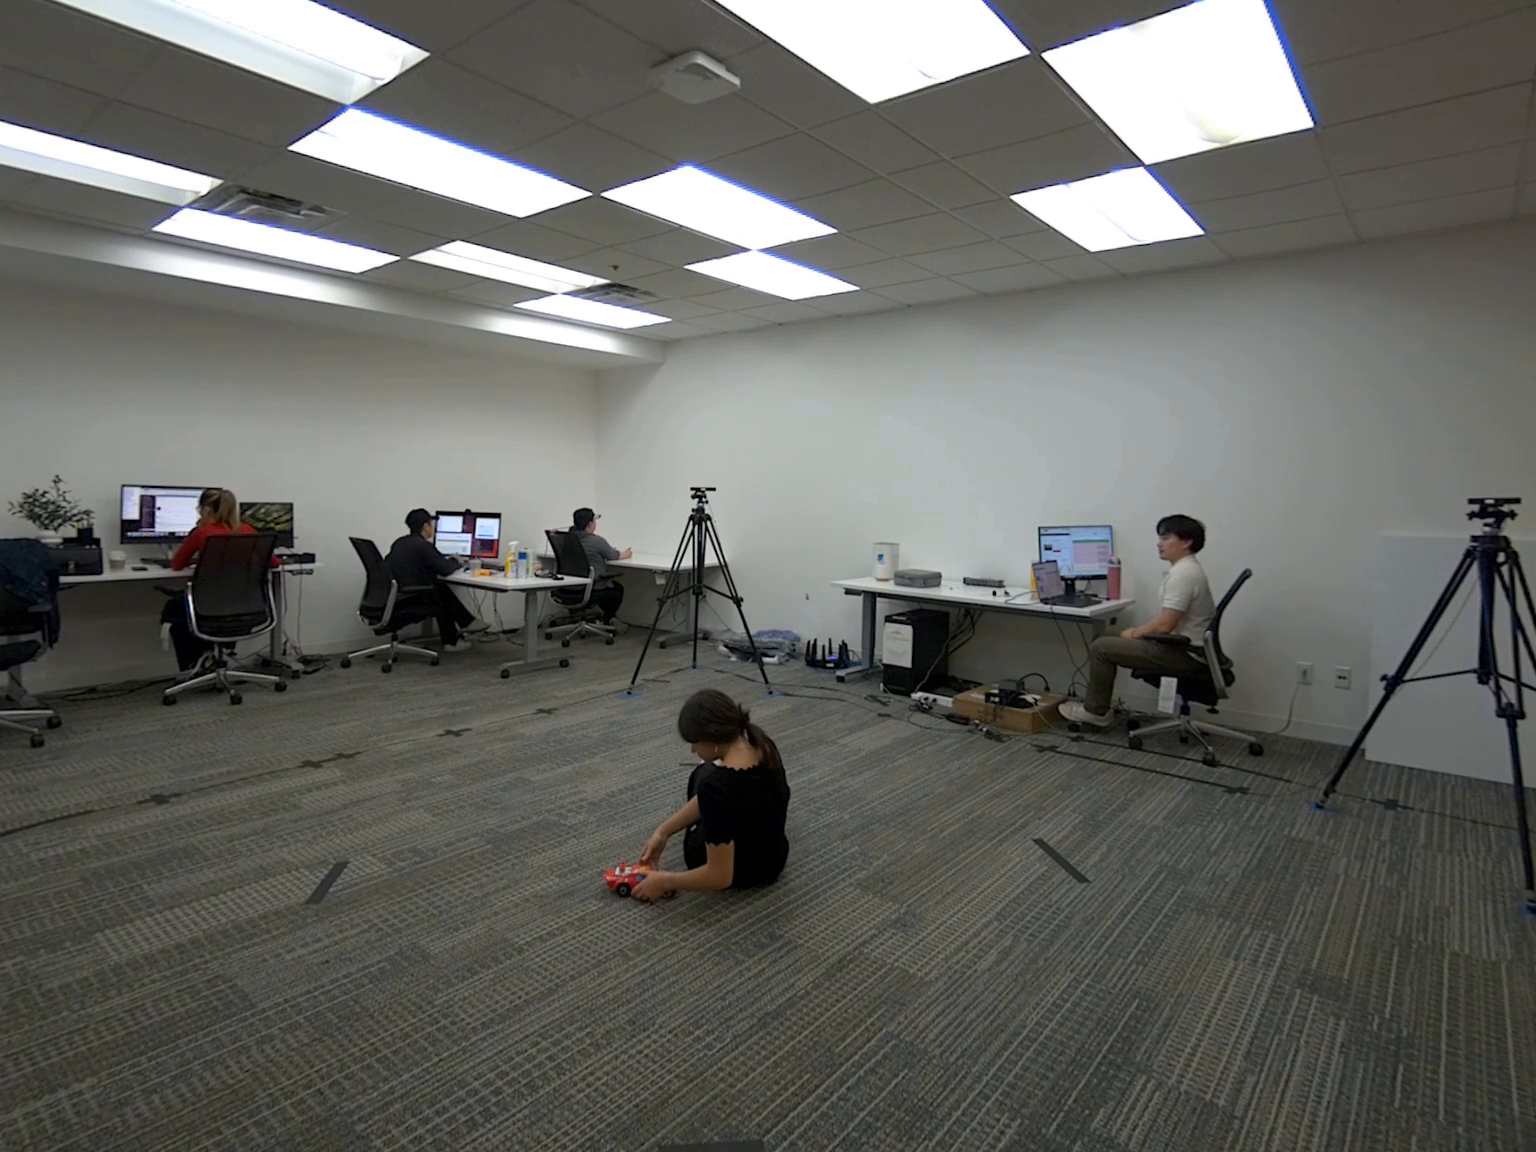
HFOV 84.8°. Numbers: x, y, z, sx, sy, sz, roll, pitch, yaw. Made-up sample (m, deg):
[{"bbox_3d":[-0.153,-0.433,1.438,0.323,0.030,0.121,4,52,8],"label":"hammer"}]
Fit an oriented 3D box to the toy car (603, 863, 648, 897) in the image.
[{"bbox_3d":[-0.454,1.046,2.933,0.254,0.083,0.131,13,4,-1],"label":"toy car"}]
